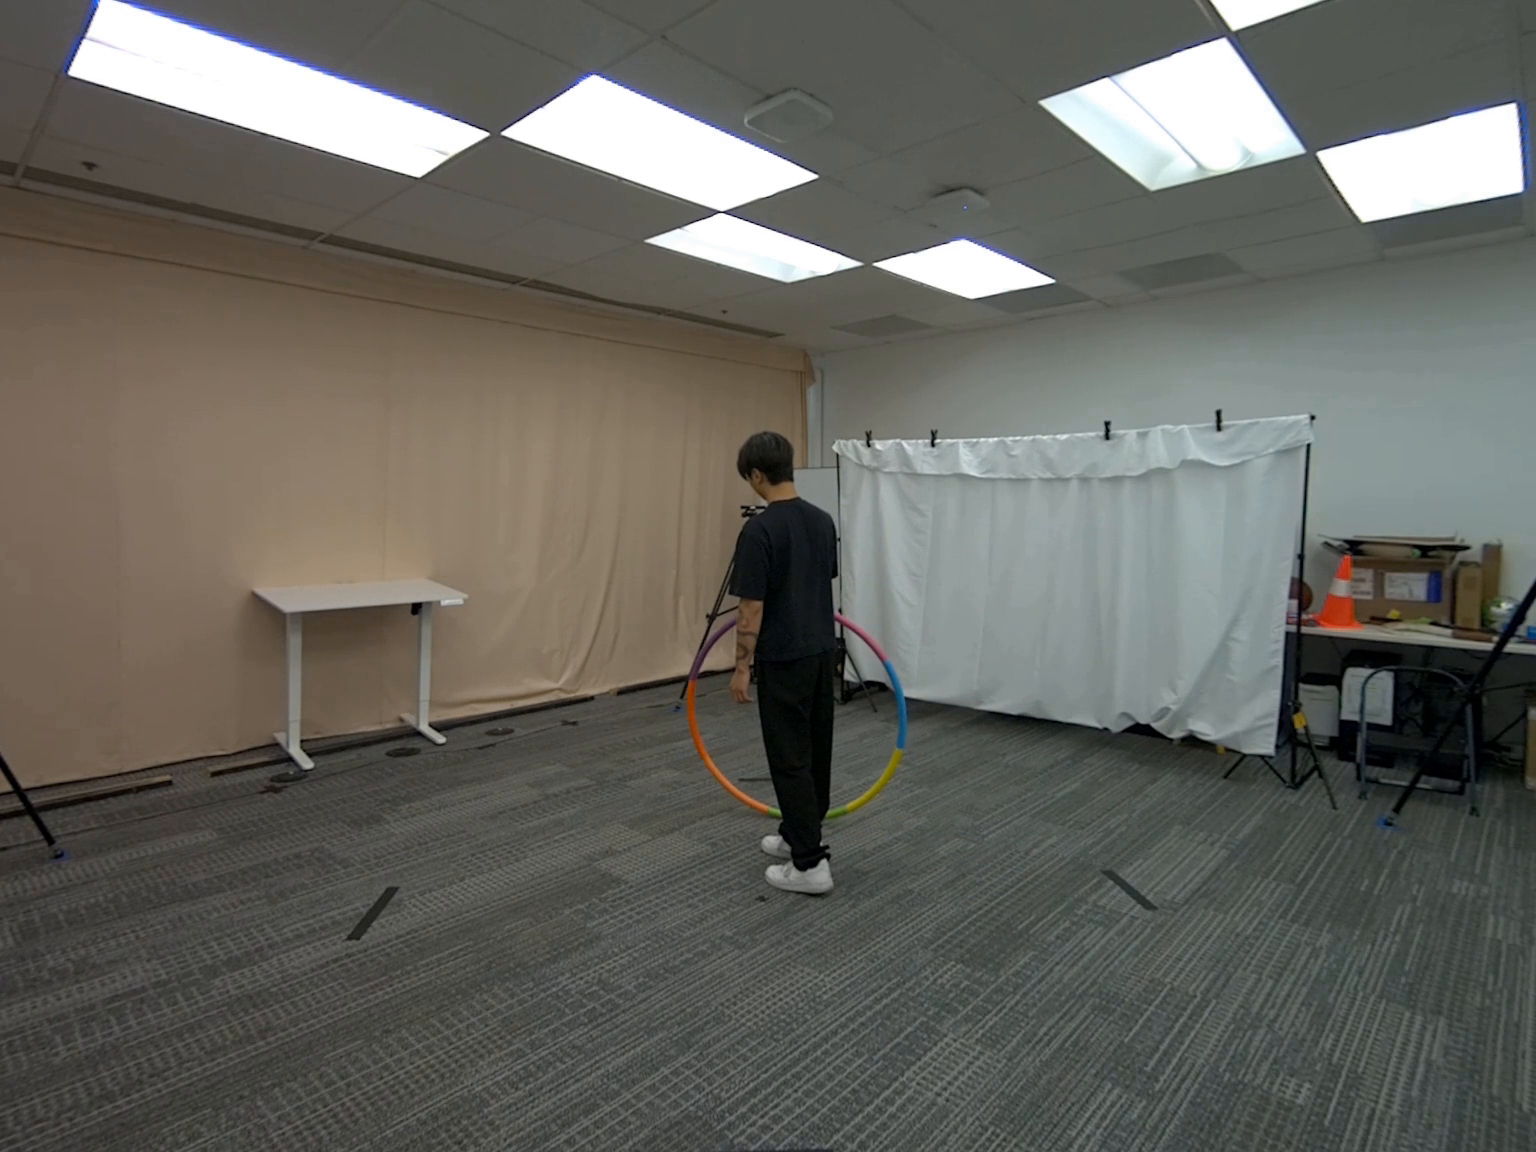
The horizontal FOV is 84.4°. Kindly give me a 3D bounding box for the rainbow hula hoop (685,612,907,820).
[{"bbox_3d":[0.108,0.598,3.699,0.999,0.976,0.035,1,4,20],"label":"rainbow hula hoop"}]
